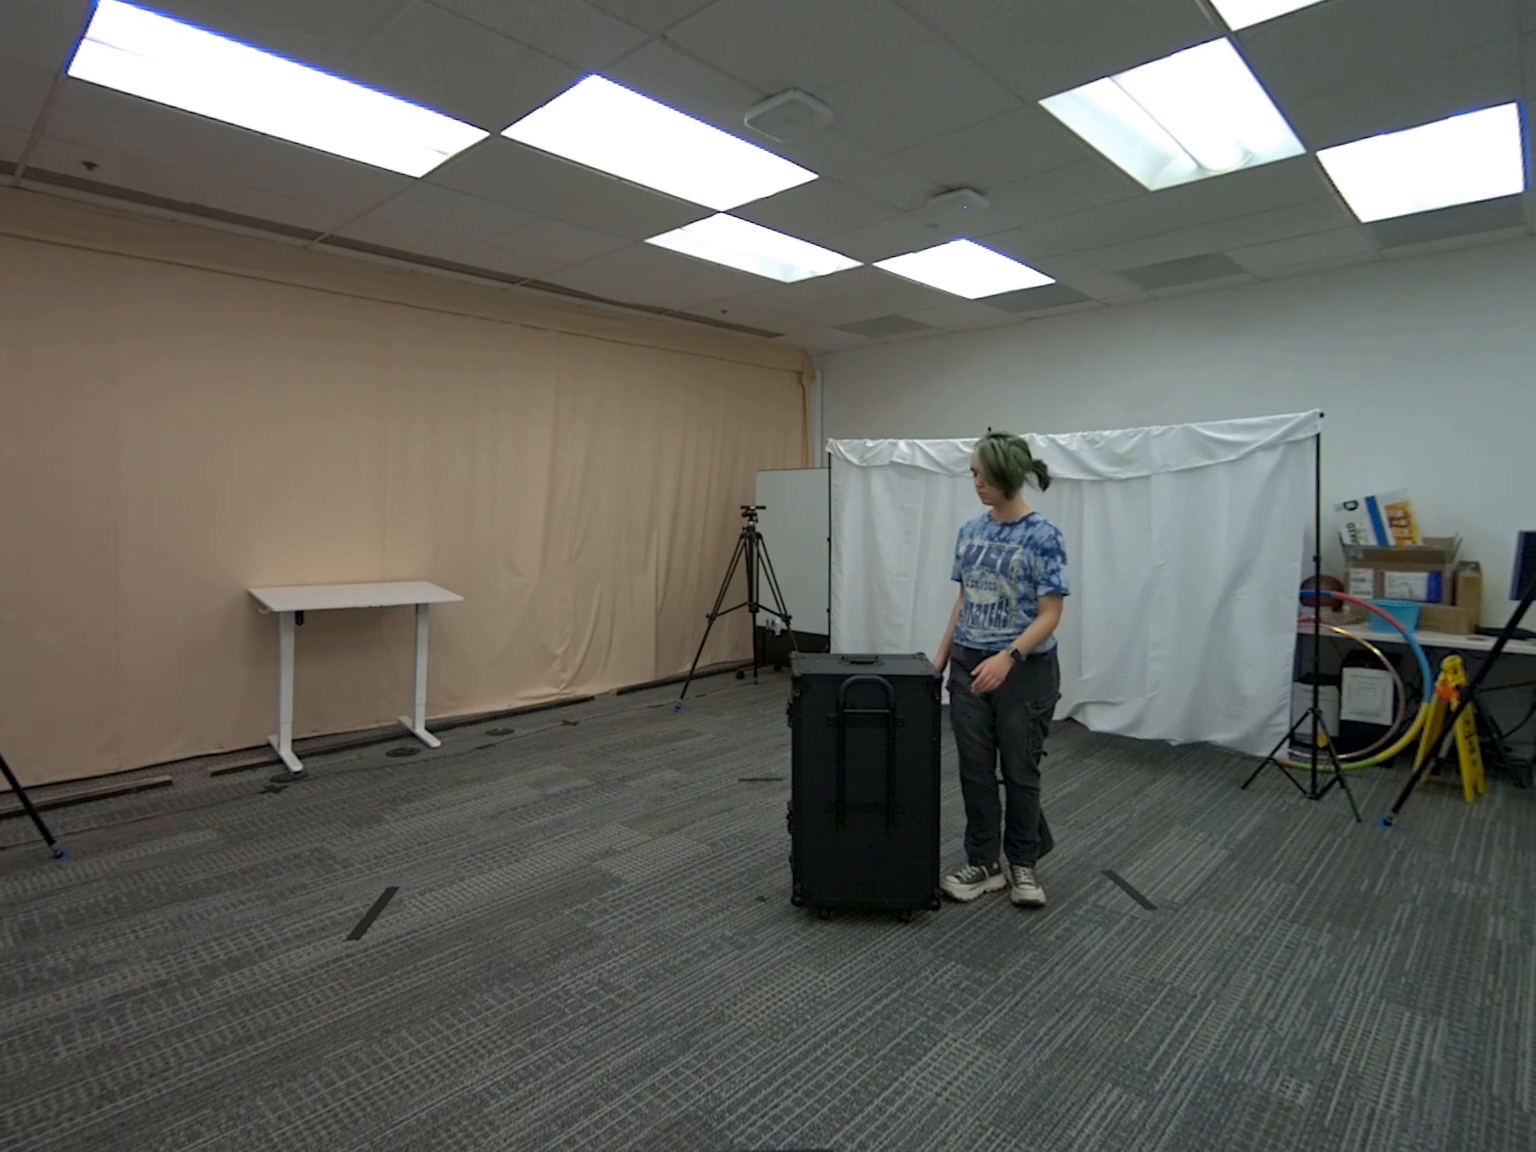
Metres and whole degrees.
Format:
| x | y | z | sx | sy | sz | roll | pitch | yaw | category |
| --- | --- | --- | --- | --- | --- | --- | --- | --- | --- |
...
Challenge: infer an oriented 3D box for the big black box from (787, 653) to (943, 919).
| x | y | z | sx | sy | sz | roll | pitch | yaw | category |
| --- | --- | --- | --- | --- | --- | --- | --- | --- | --- |
| 0.330 | 0.731 | 2.903 | 0.524 | 0.858 | 0.396 | 0 | 5 | 3 | big black box |
